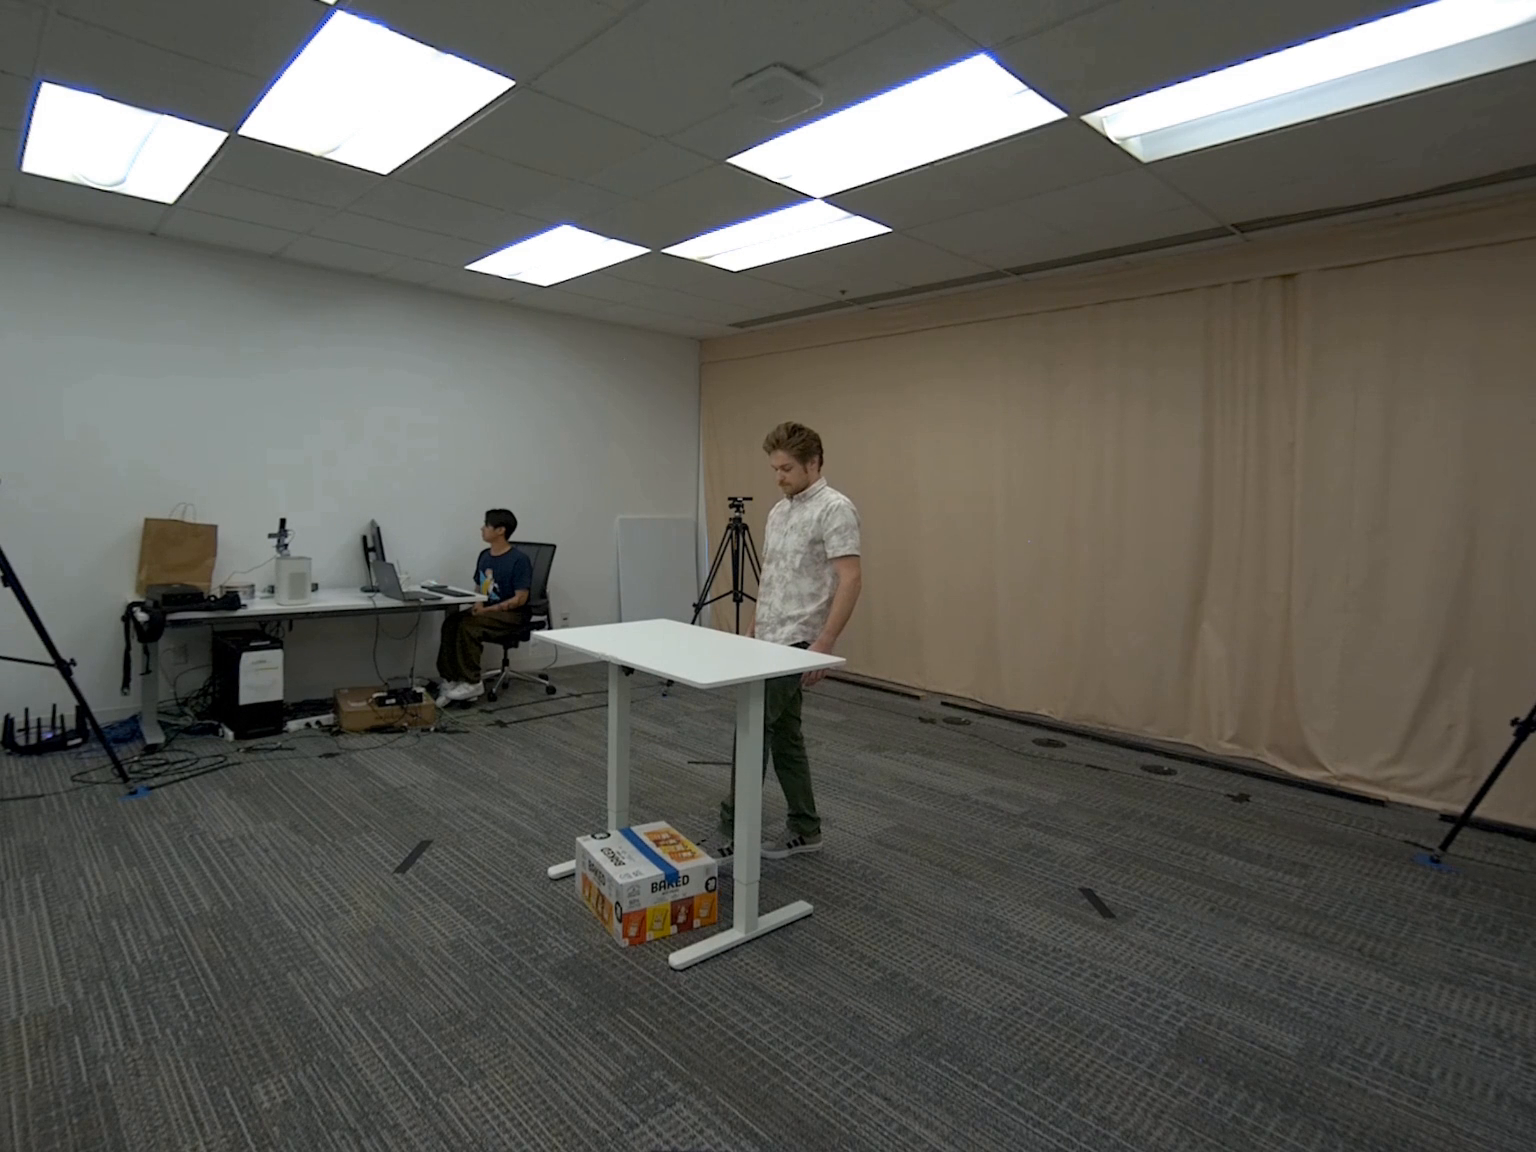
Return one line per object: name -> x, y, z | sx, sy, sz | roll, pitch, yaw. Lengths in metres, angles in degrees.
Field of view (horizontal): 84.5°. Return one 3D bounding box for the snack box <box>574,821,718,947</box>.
snack box -> -0.427, 1.026, 2.833 | 0.333, 0.205, 0.415 | -1, 6, -32
